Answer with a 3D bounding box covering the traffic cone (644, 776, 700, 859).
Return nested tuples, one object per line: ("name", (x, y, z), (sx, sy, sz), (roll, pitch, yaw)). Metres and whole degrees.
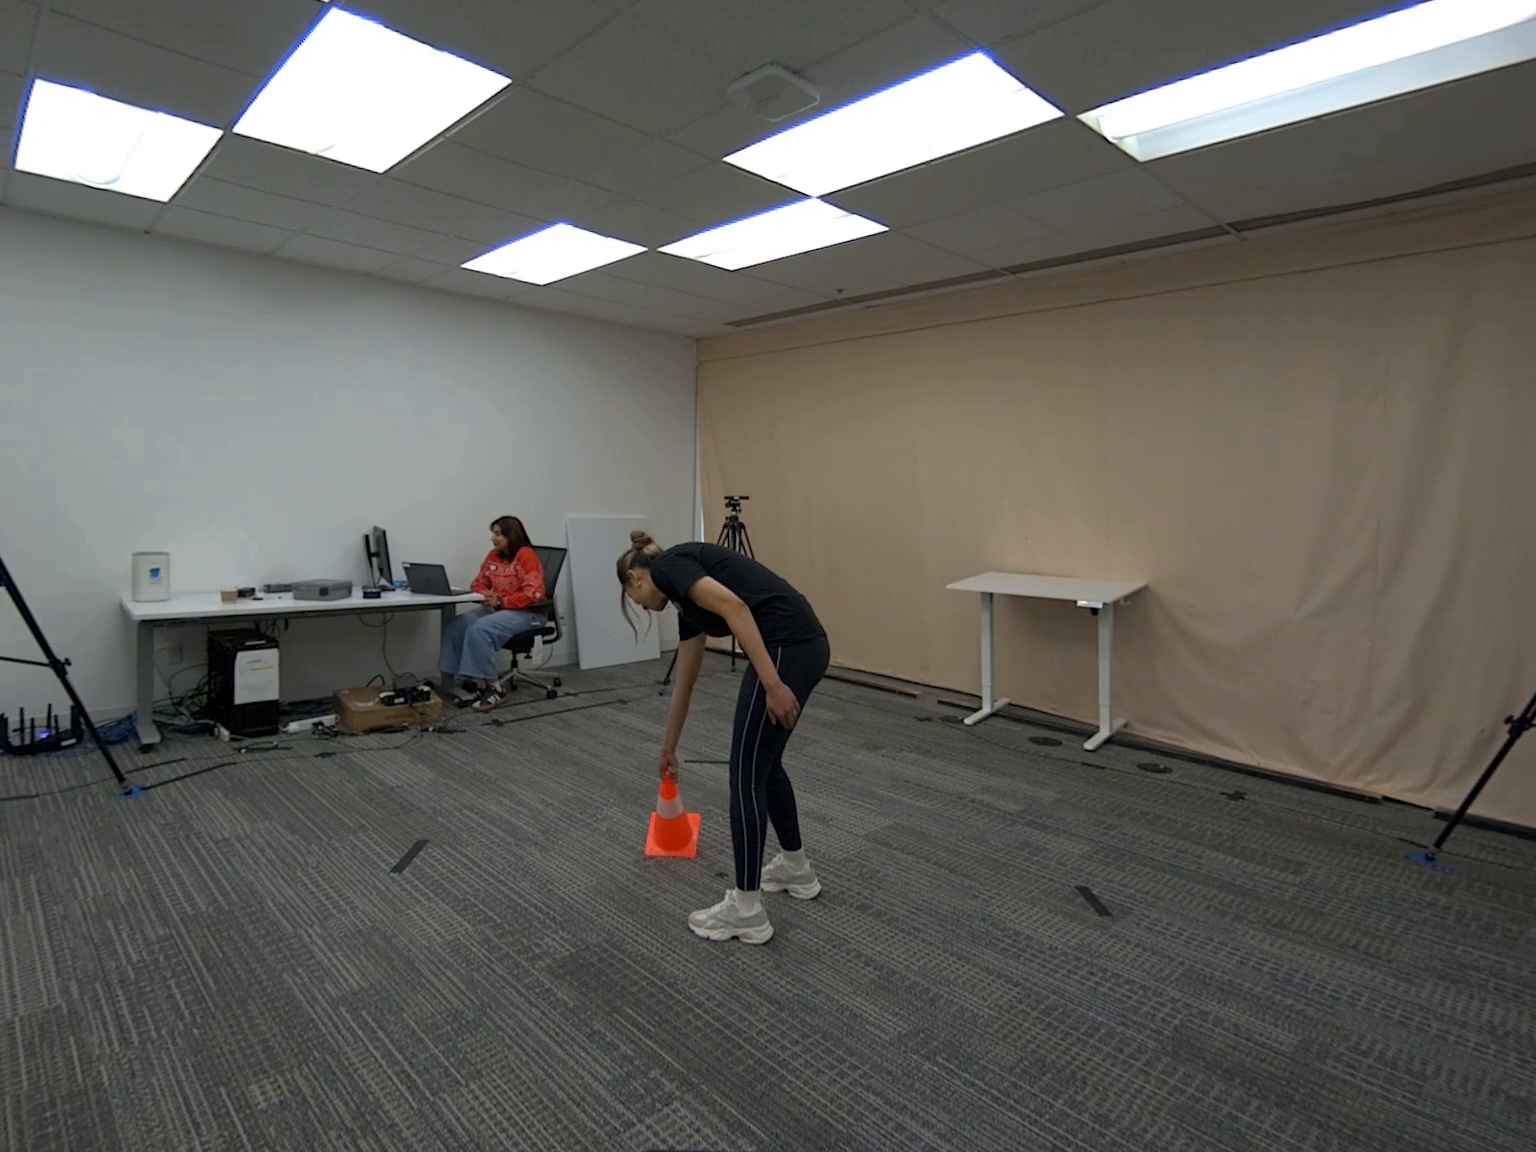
("traffic cone", (-0.389, 0.882, 3.206), (0.204, 0.375, 0.209), (0, 37, 2))
